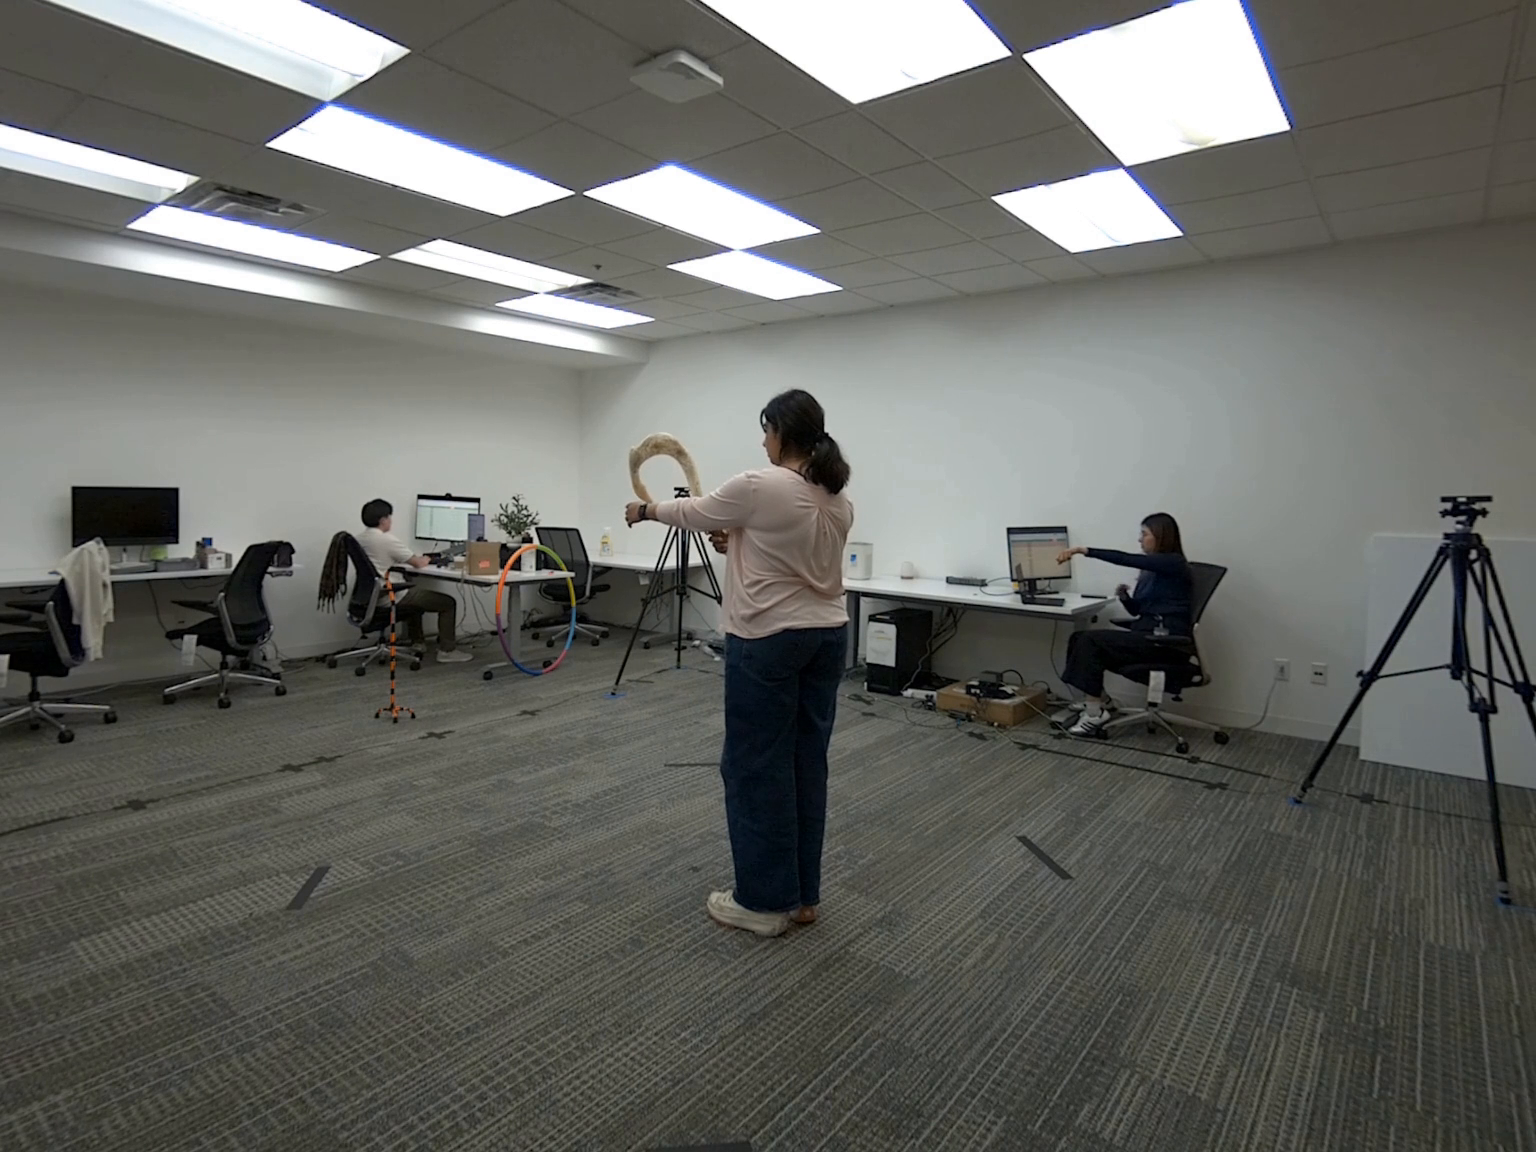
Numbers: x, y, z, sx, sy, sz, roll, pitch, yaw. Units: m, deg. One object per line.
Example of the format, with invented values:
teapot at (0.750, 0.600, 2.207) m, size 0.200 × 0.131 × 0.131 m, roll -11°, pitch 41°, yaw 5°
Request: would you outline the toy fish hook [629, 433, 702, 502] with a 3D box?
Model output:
toy fish hook at (-0.293, -0.250, 2.895) m, size 0.224 × 0.499 × 0.049 m, roll -32°, pitch 10°, yaw -1°
